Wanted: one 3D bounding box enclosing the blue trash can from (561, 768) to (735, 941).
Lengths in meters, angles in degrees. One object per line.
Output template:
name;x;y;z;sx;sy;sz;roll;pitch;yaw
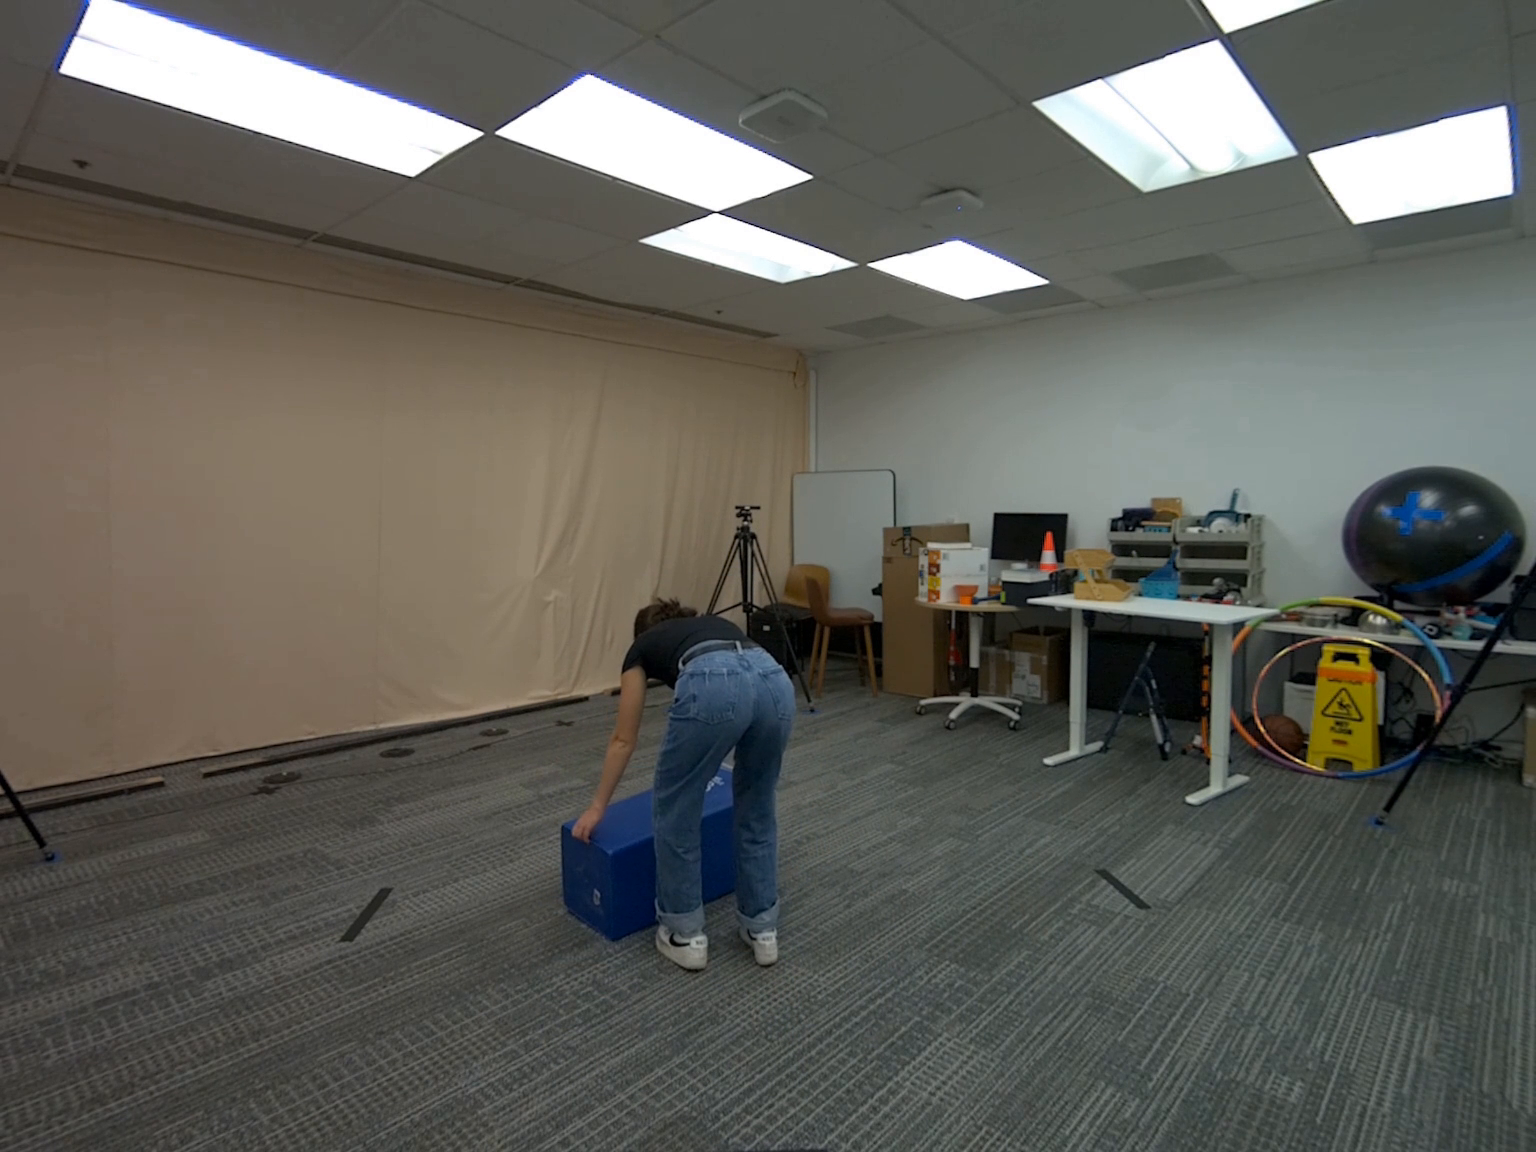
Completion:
blue trash can;-0.351;0.976;3.011;0.693;0.372;0.391;-9;12;-41
